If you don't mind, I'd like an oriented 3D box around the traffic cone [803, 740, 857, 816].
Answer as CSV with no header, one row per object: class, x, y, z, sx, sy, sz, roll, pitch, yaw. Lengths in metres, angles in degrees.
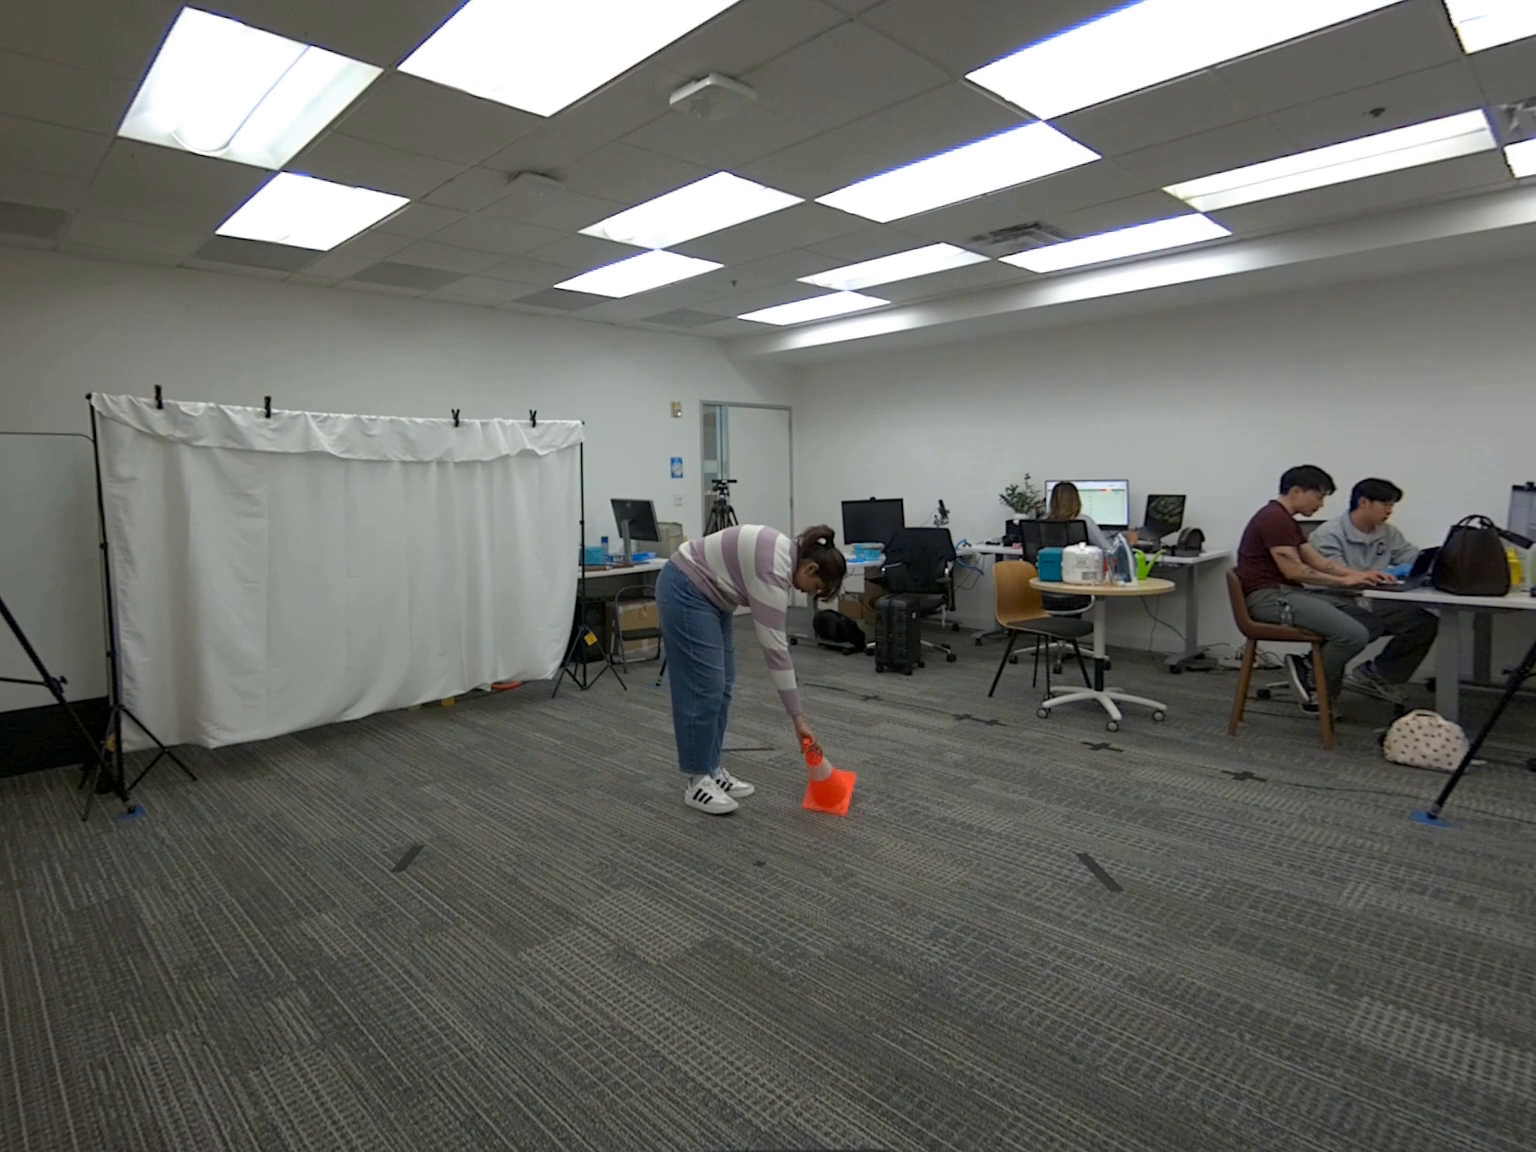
traffic cone,0.204,0.788,3.525,0.208,0.370,0.208,0,47,24
